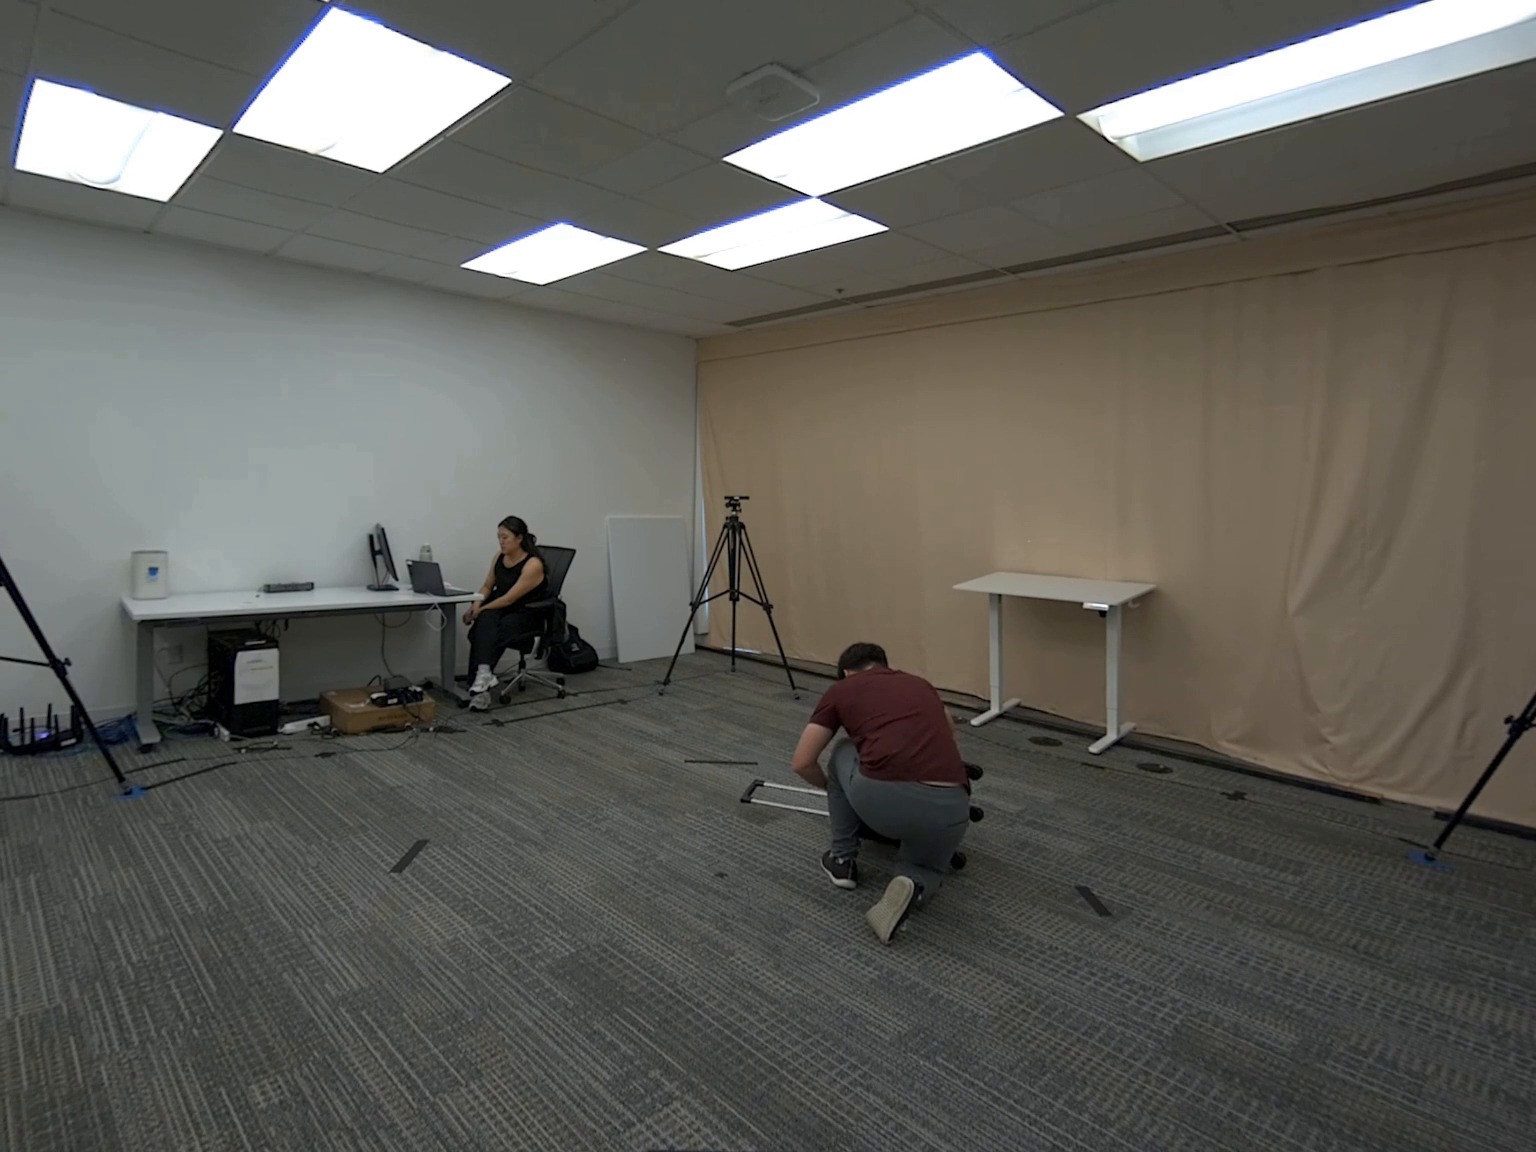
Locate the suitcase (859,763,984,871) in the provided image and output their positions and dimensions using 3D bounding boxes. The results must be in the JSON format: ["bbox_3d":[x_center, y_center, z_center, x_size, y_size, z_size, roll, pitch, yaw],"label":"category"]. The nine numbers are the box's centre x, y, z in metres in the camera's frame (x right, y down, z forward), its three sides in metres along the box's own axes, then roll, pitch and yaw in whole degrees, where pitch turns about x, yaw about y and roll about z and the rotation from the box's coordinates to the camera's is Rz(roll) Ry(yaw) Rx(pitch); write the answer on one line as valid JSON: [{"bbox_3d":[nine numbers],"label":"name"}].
[{"bbox_3d":[0.354,0.875,3.443,0.998,0.253,0.382,4,23,26],"label":"suitcase"}]
